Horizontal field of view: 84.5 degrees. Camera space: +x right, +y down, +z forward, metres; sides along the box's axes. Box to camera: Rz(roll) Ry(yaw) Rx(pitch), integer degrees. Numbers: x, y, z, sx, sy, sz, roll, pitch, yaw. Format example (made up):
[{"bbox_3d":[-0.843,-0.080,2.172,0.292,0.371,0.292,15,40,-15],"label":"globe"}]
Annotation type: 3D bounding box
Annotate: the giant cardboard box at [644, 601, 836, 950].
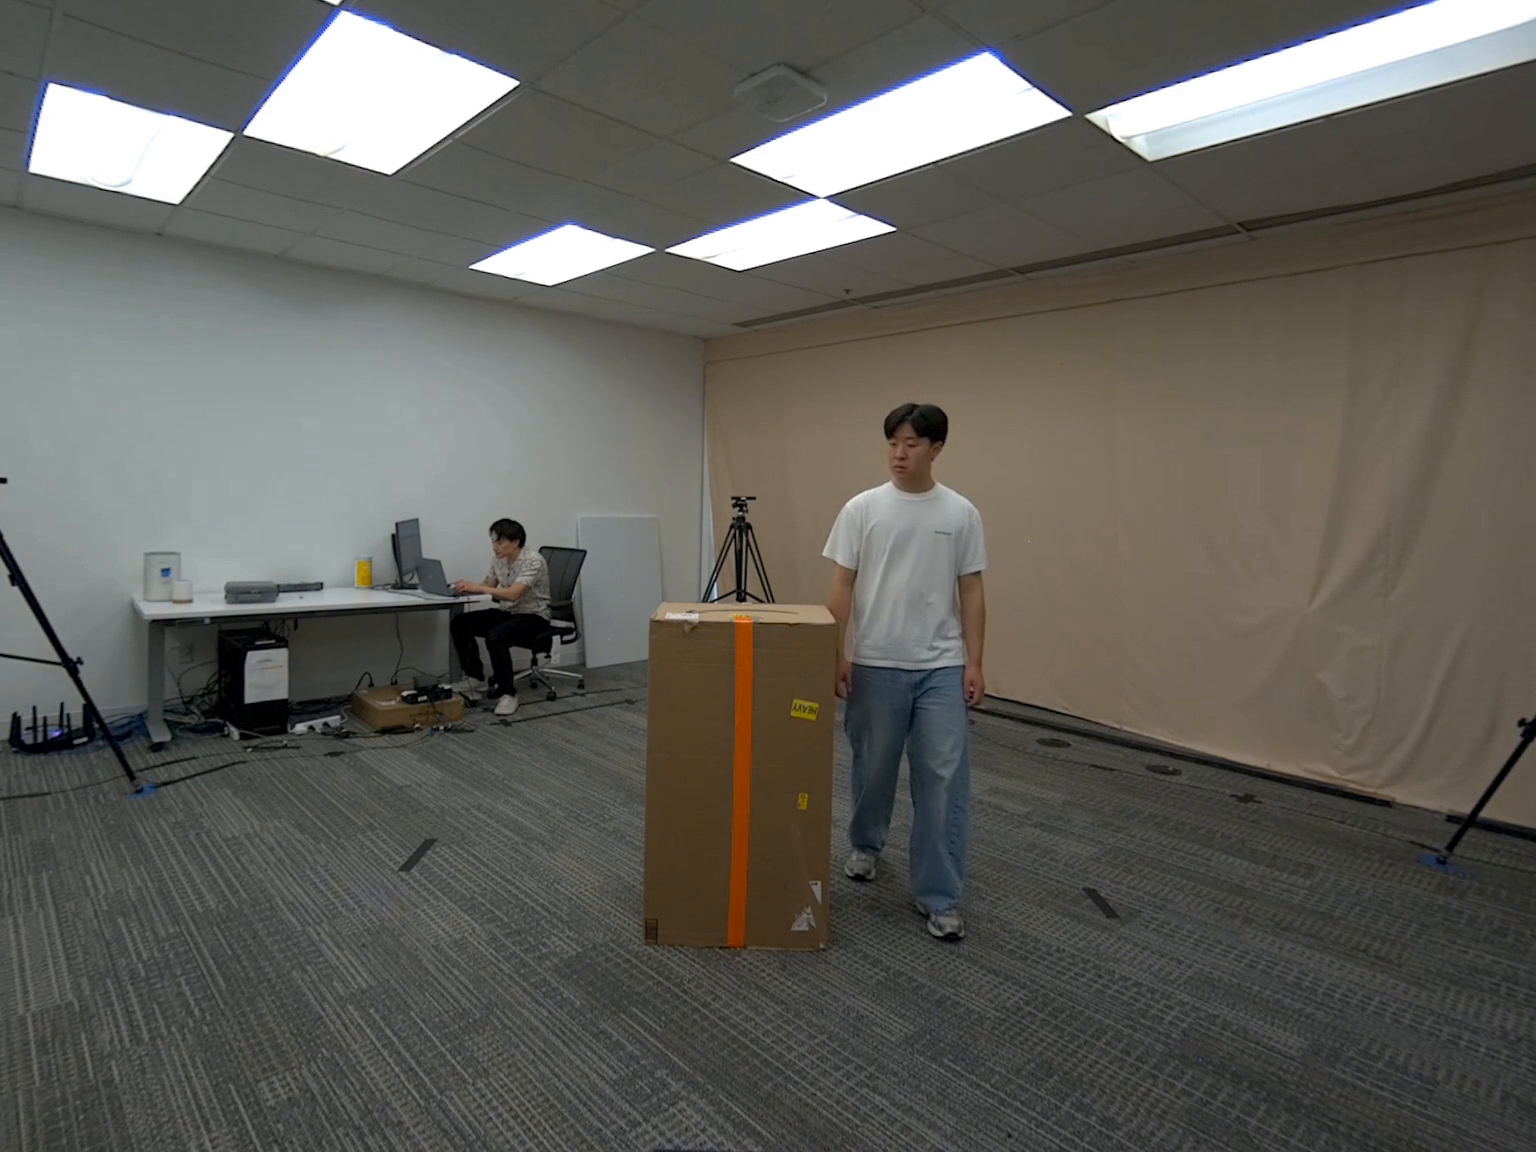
[{"bbox_3d":[-0.101,0.629,2.782,0.578,1.023,0.427,1,3,1],"label":"giant cardboard box"}]
